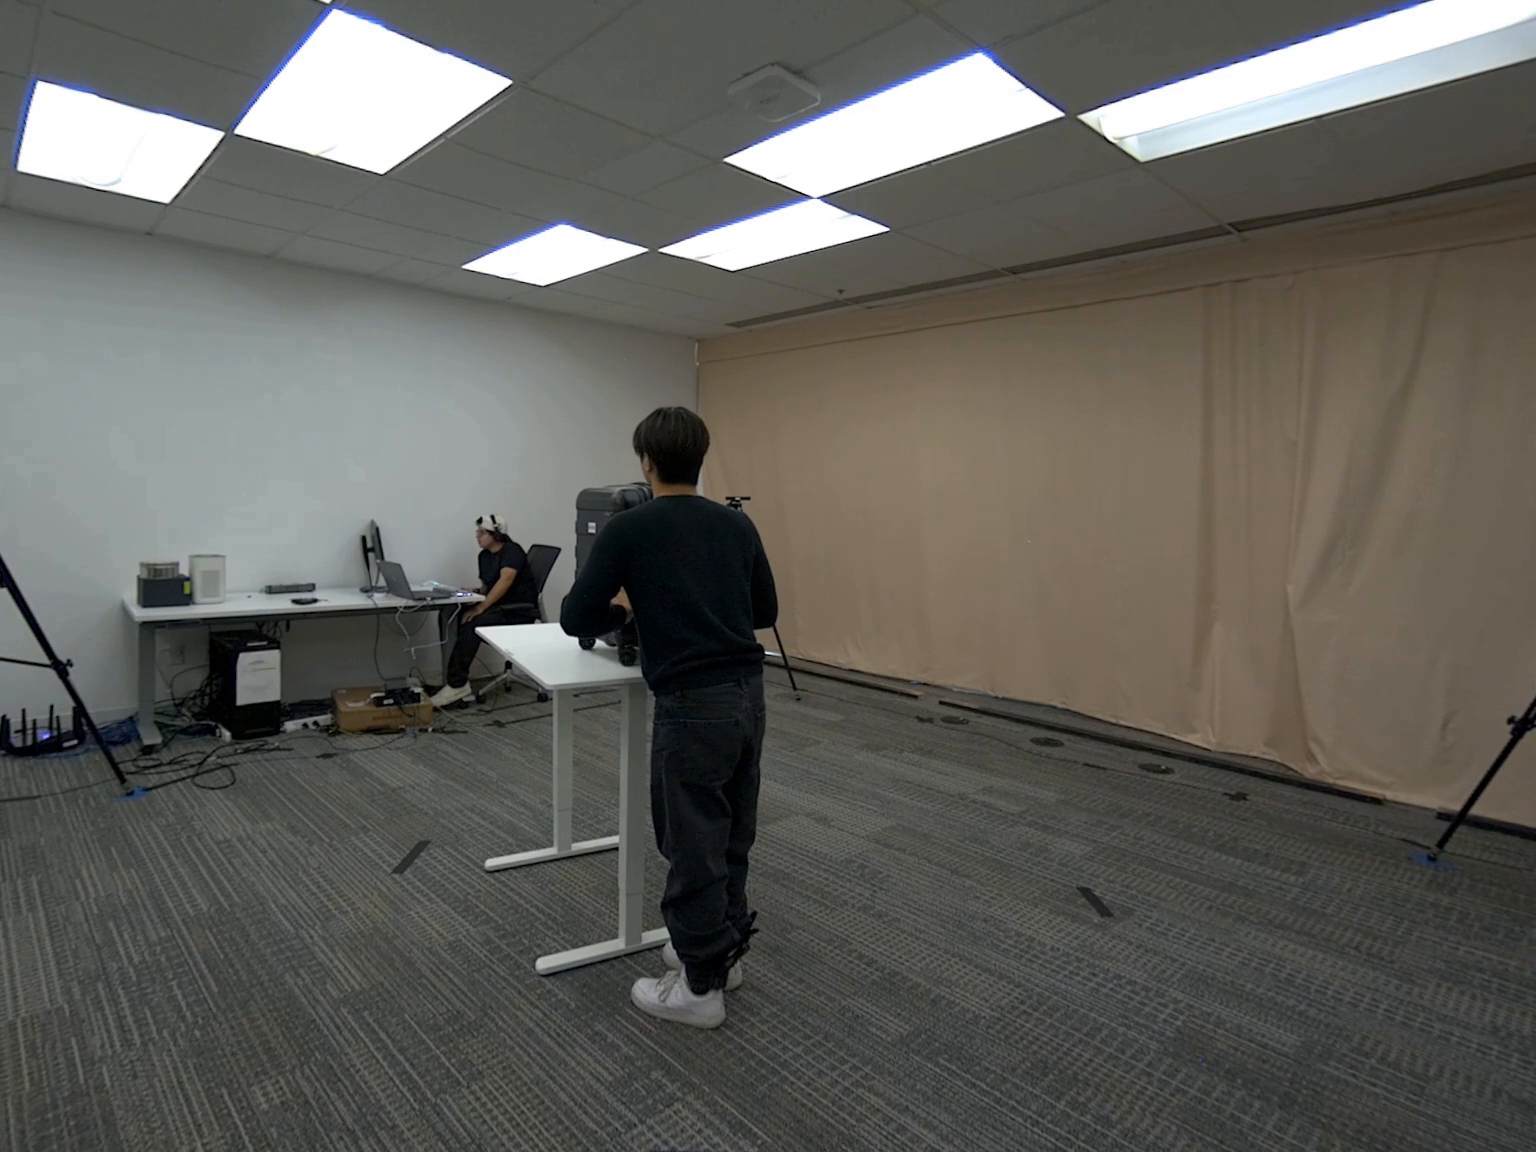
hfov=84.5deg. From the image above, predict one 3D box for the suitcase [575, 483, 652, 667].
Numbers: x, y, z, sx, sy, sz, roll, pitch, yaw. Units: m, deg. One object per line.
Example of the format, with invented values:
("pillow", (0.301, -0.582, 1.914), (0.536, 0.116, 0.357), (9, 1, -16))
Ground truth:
("suitcase", (-0.444, -0.022, 2.706), (0.243, 0.547, 0.385), (-3, 7, -36))
